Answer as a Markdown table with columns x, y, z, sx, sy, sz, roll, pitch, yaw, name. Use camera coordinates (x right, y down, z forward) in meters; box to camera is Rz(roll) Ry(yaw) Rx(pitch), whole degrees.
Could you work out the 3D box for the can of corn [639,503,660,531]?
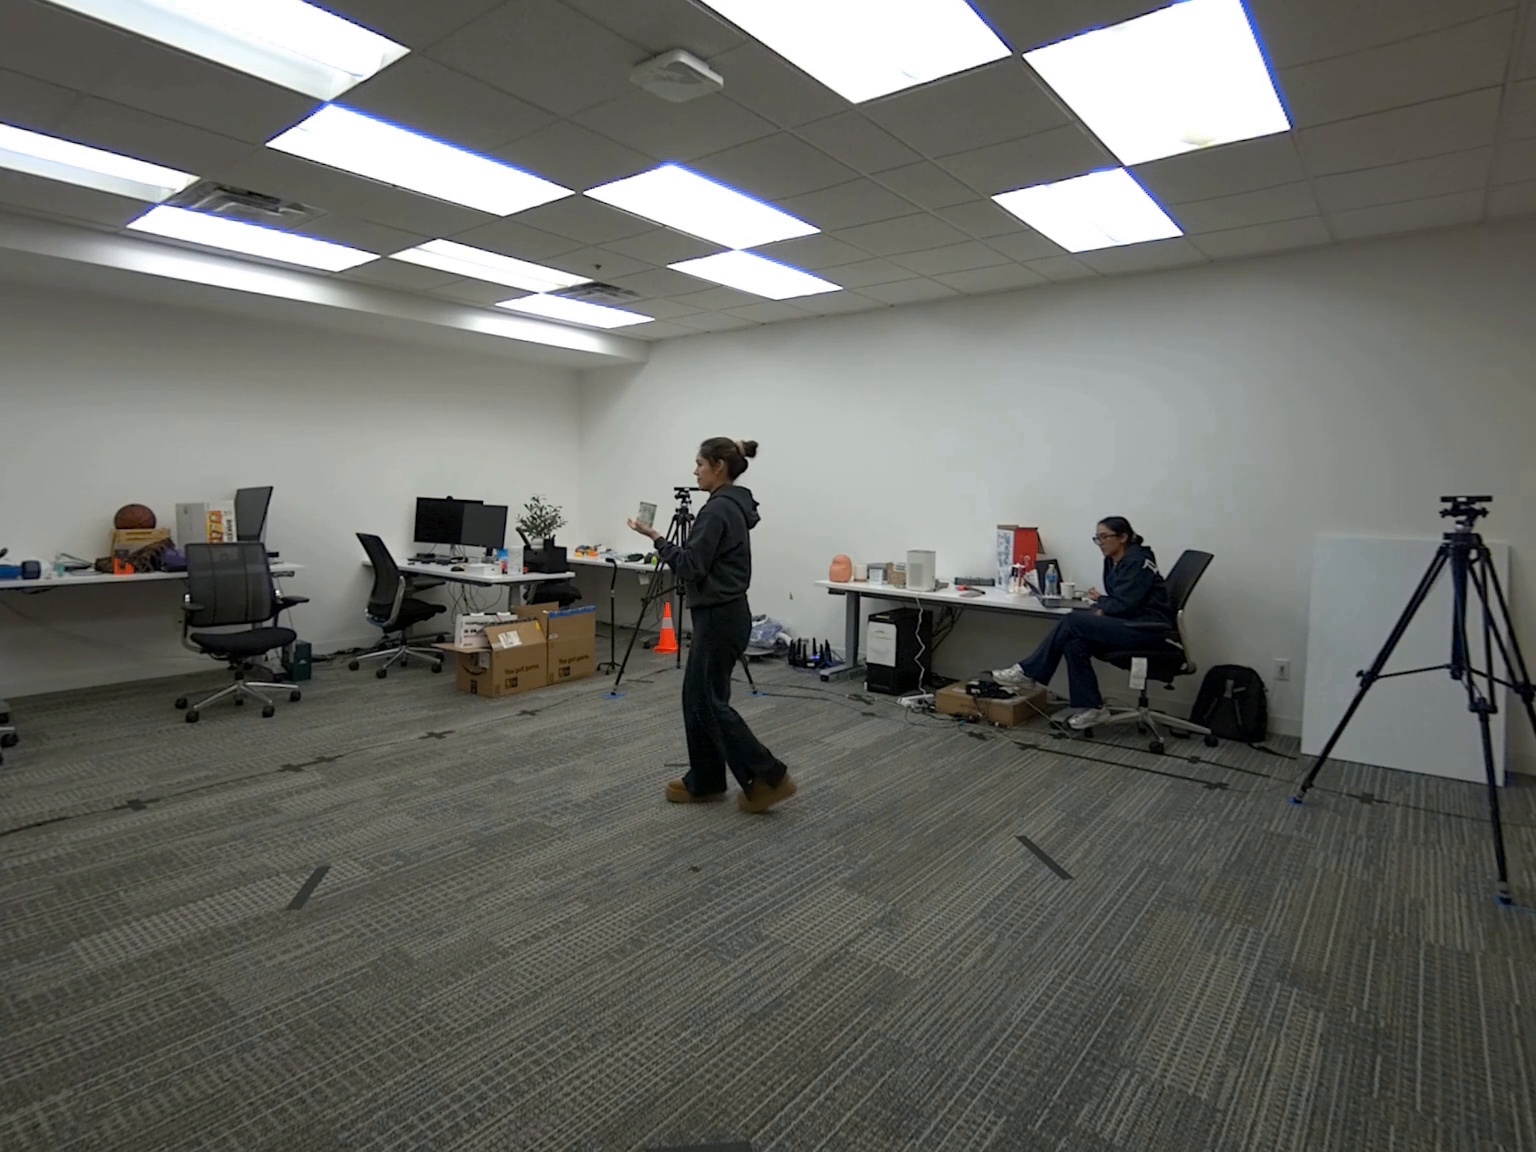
| x | y | z | sx | sy | sz | roll | pitch | yaw | name |
| --- | --- | --- | --- | --- | --- | --- | --- | --- | --- |
| -0.516 | -0.256 | 3.639 | 0.074 | 0.111 | 0.074 | 7 | 3 | -2 | can of corn |
